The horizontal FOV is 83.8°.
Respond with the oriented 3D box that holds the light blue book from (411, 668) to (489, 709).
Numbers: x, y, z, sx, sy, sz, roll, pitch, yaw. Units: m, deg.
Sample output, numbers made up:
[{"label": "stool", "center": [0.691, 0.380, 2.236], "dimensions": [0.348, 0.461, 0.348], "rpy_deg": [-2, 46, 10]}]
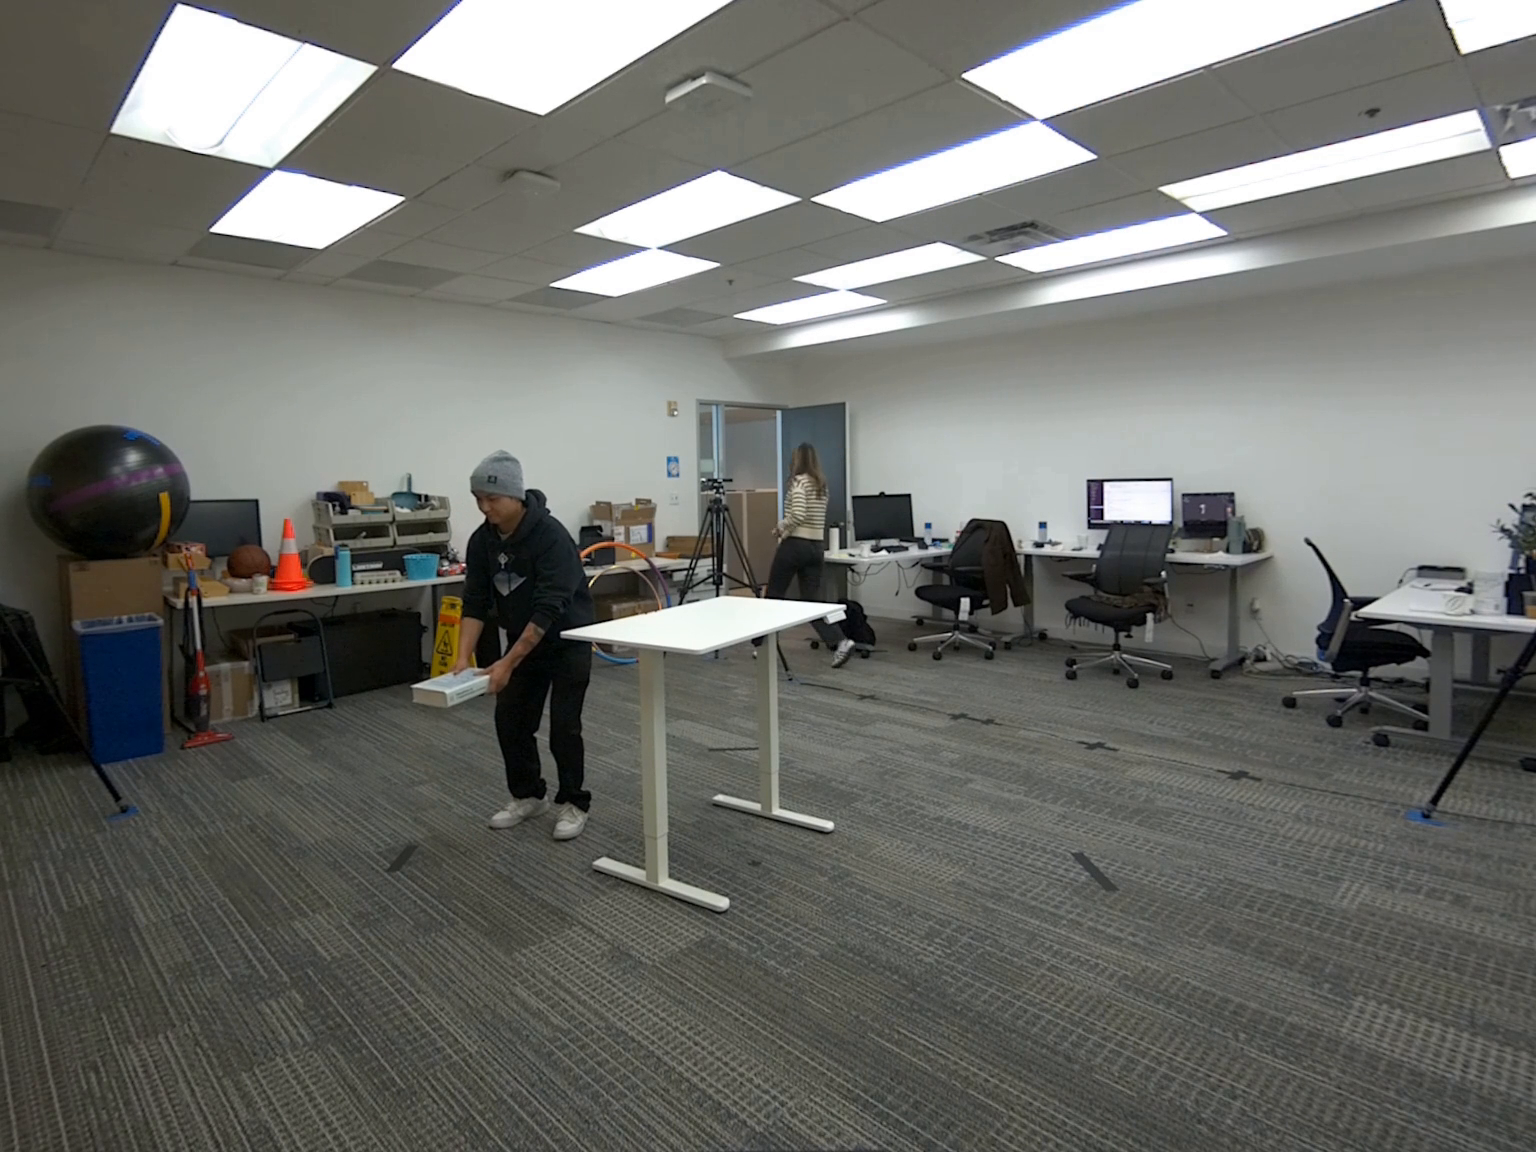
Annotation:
[{"label": "light blue book", "center": [-1.134, 0.403, 3.108], "dimensions": [0.196, 0.058, 0.256], "rpy_deg": [2, 11, 29]}]
